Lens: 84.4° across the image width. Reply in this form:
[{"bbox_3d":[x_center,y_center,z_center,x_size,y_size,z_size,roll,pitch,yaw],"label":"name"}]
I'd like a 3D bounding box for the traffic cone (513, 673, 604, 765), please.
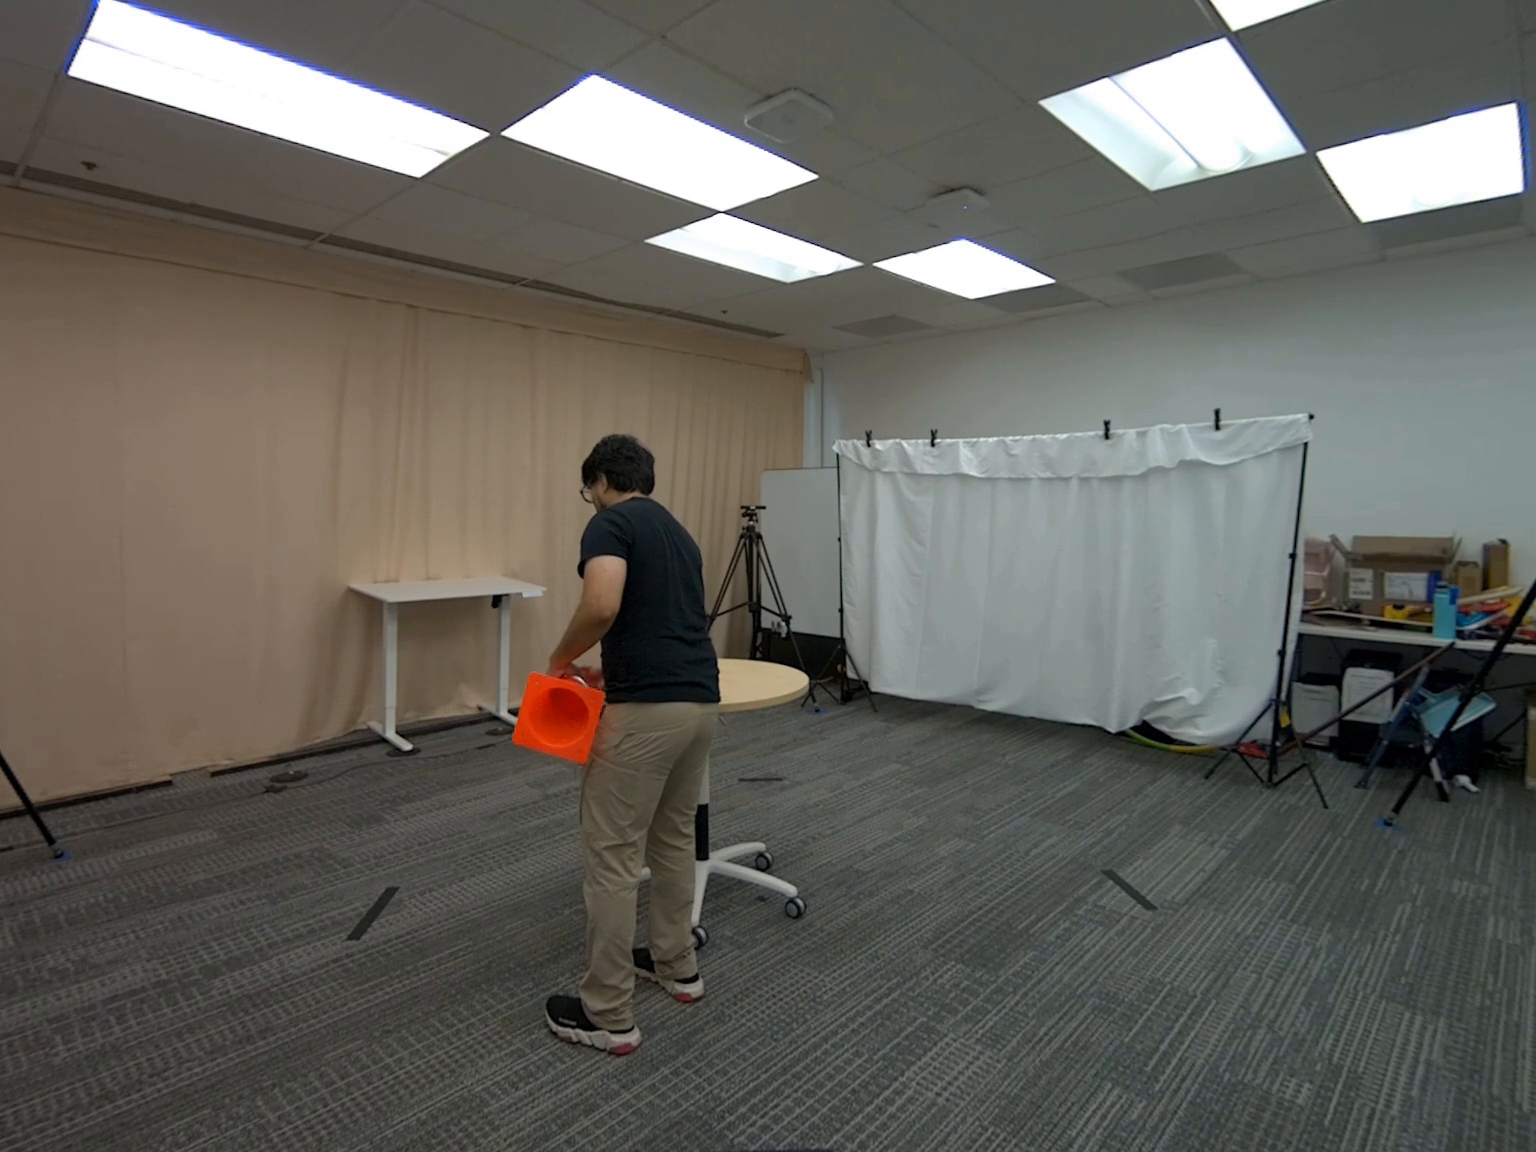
[{"bbox_3d":[-0.533,0.336,2.322,0.203,0.205,0.385,19,5,-3],"label":"traffic cone"}]
